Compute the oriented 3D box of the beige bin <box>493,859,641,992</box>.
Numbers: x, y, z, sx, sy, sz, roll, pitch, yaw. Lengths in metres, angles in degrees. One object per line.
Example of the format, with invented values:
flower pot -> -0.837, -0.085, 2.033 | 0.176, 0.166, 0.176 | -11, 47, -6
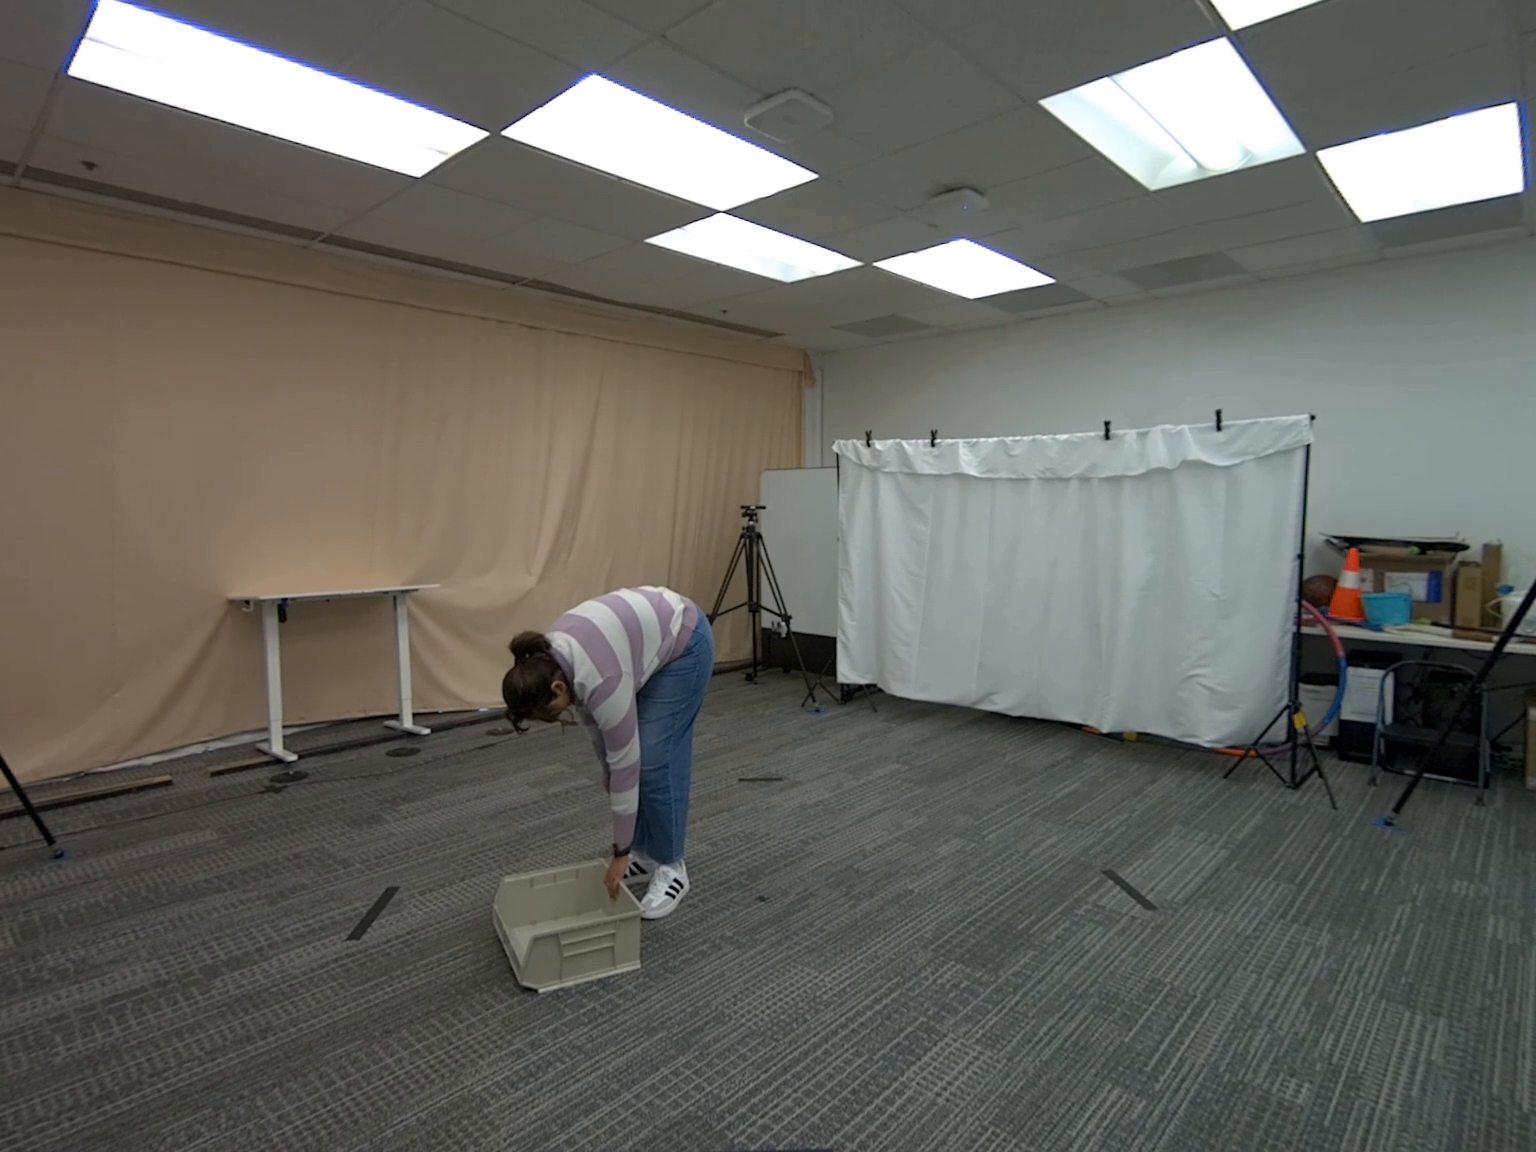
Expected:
beige bin -> -0.635, 1.086, 2.644 | 0.368, 0.189, 0.434 | -1, 3, -28
